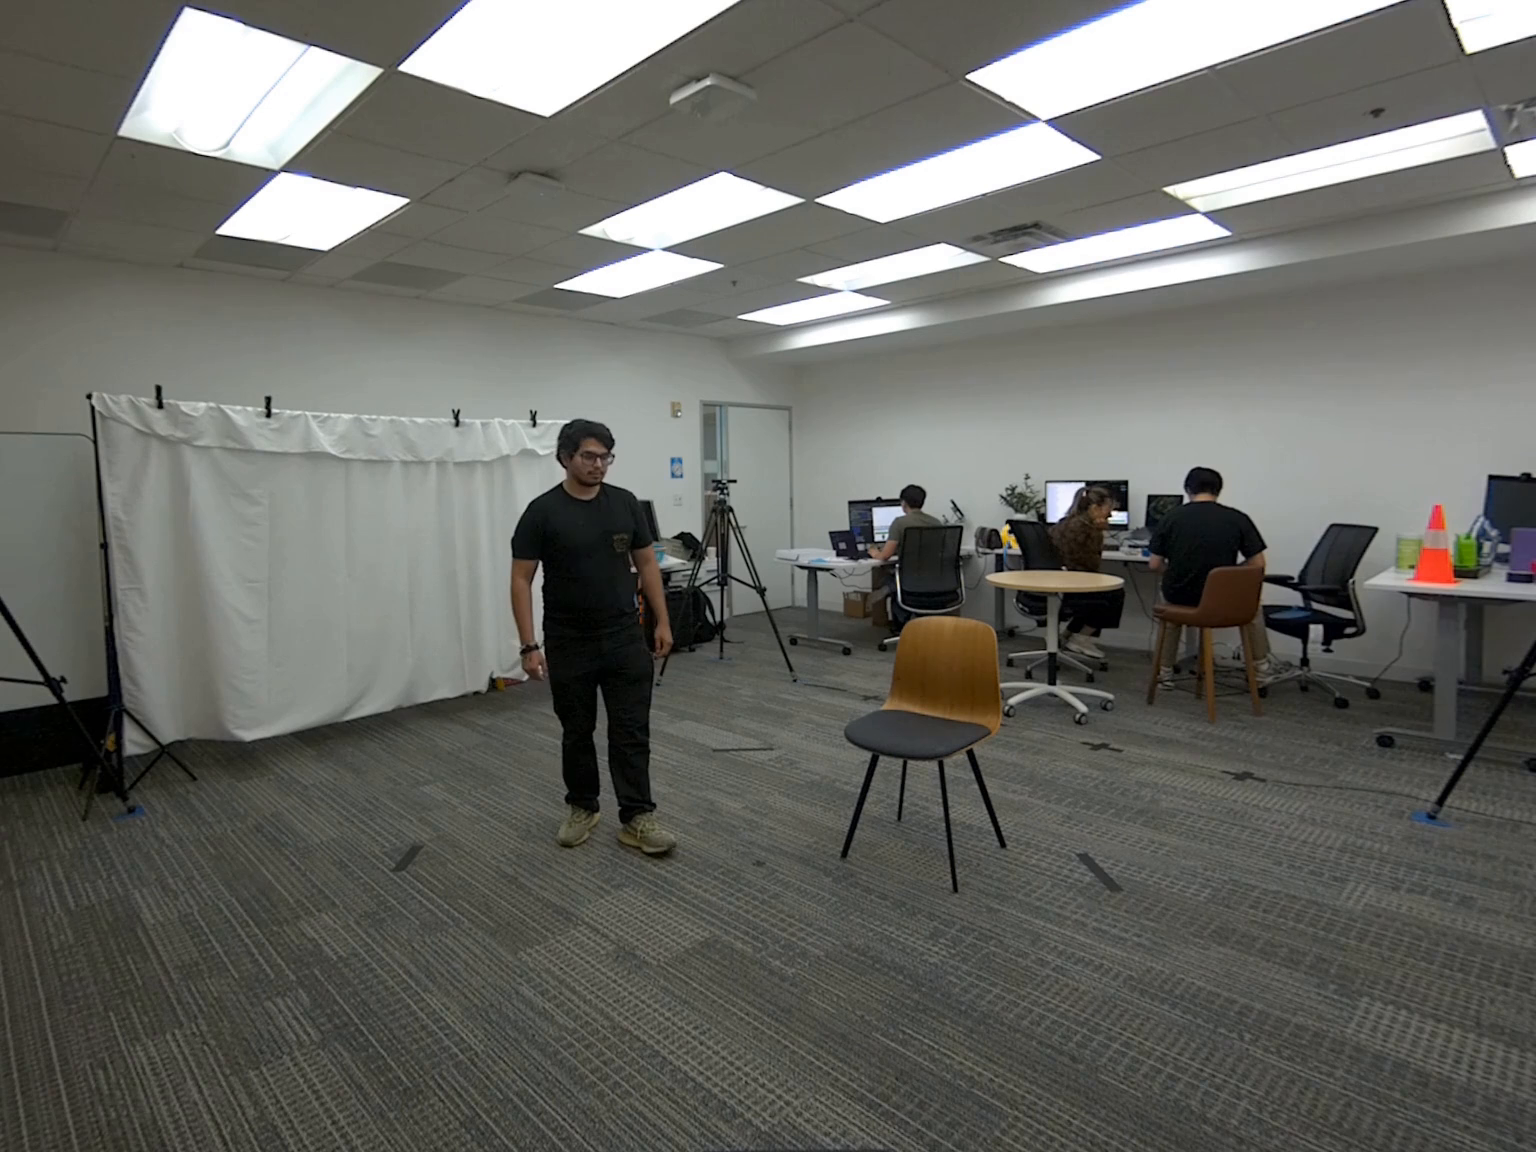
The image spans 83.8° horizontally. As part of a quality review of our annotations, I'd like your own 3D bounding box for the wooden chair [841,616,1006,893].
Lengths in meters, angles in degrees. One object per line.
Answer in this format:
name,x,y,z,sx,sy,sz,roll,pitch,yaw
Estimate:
wooden chair,0.569,0.601,3.136,0.492,0.877,0.508,3,1,38
